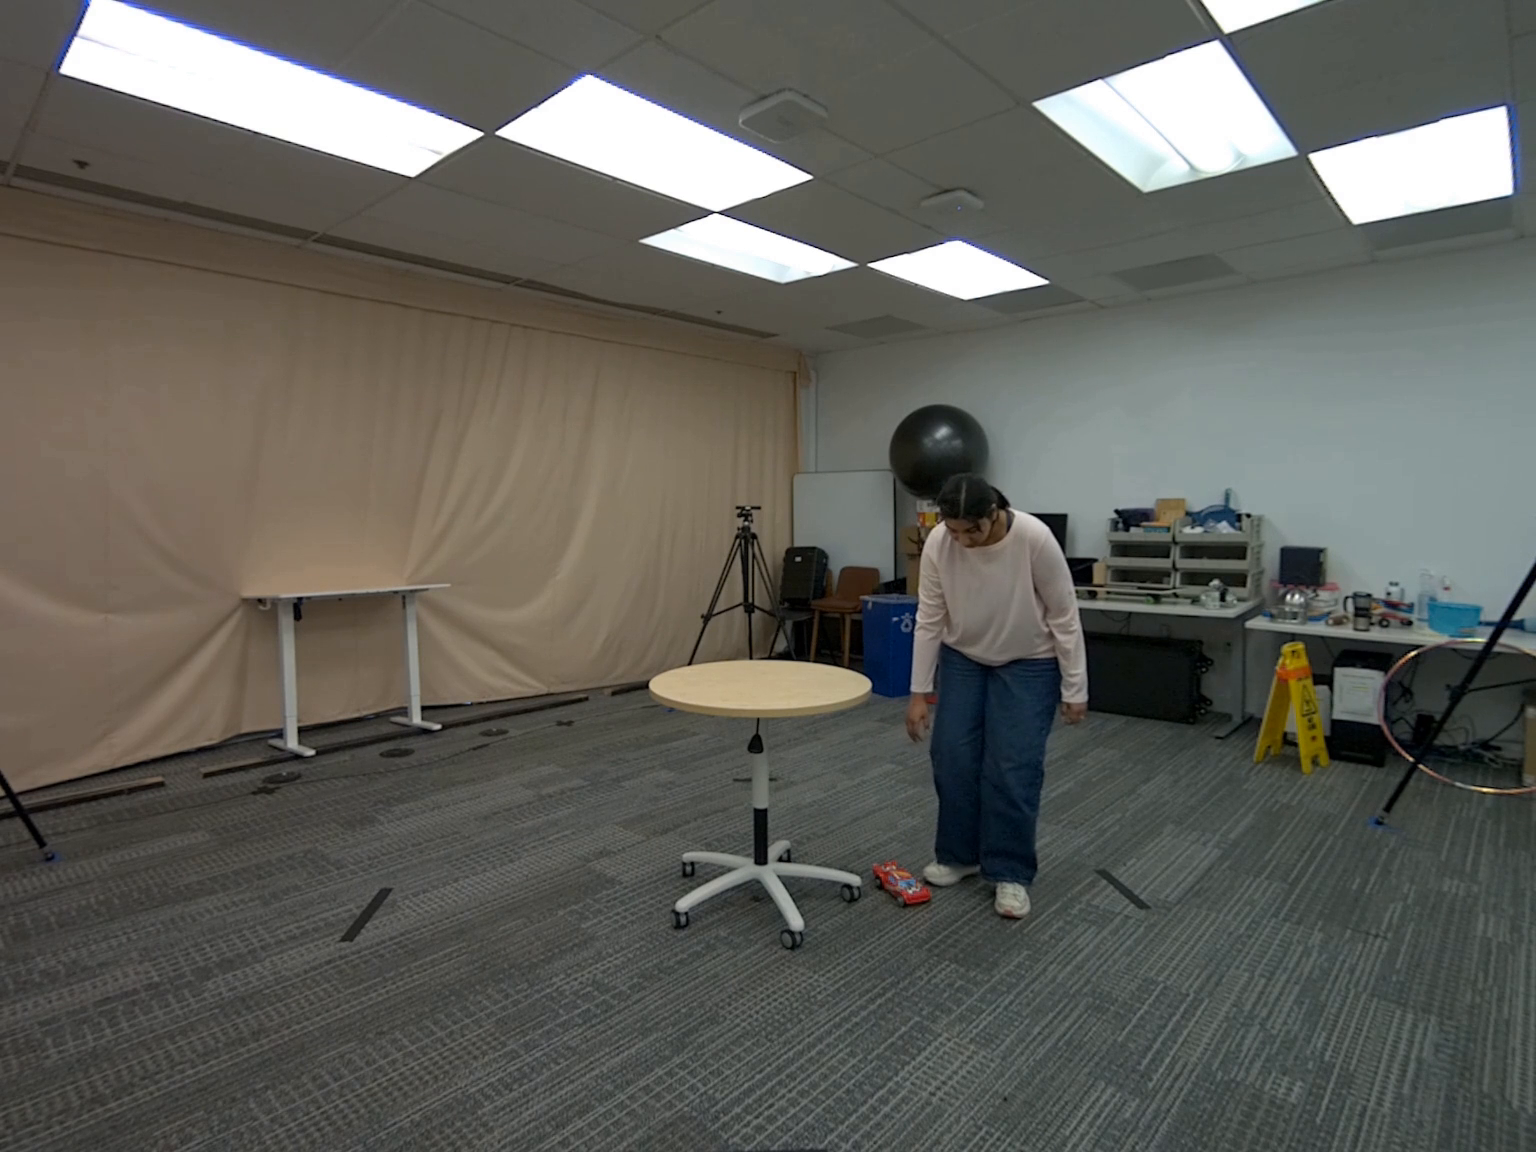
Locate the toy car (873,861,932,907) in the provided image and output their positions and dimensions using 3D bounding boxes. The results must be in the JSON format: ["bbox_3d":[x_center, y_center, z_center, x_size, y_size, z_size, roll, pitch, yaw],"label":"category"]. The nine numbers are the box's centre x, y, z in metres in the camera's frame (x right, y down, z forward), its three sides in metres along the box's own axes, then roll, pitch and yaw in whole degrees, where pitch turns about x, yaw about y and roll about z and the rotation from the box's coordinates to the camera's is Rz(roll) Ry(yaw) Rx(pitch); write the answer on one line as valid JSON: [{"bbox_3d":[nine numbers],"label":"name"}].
[{"bbox_3d":[0.484,1.112,3.033,0.127,0.082,0.262,-1,15,-22],"label":"toy car"}]
